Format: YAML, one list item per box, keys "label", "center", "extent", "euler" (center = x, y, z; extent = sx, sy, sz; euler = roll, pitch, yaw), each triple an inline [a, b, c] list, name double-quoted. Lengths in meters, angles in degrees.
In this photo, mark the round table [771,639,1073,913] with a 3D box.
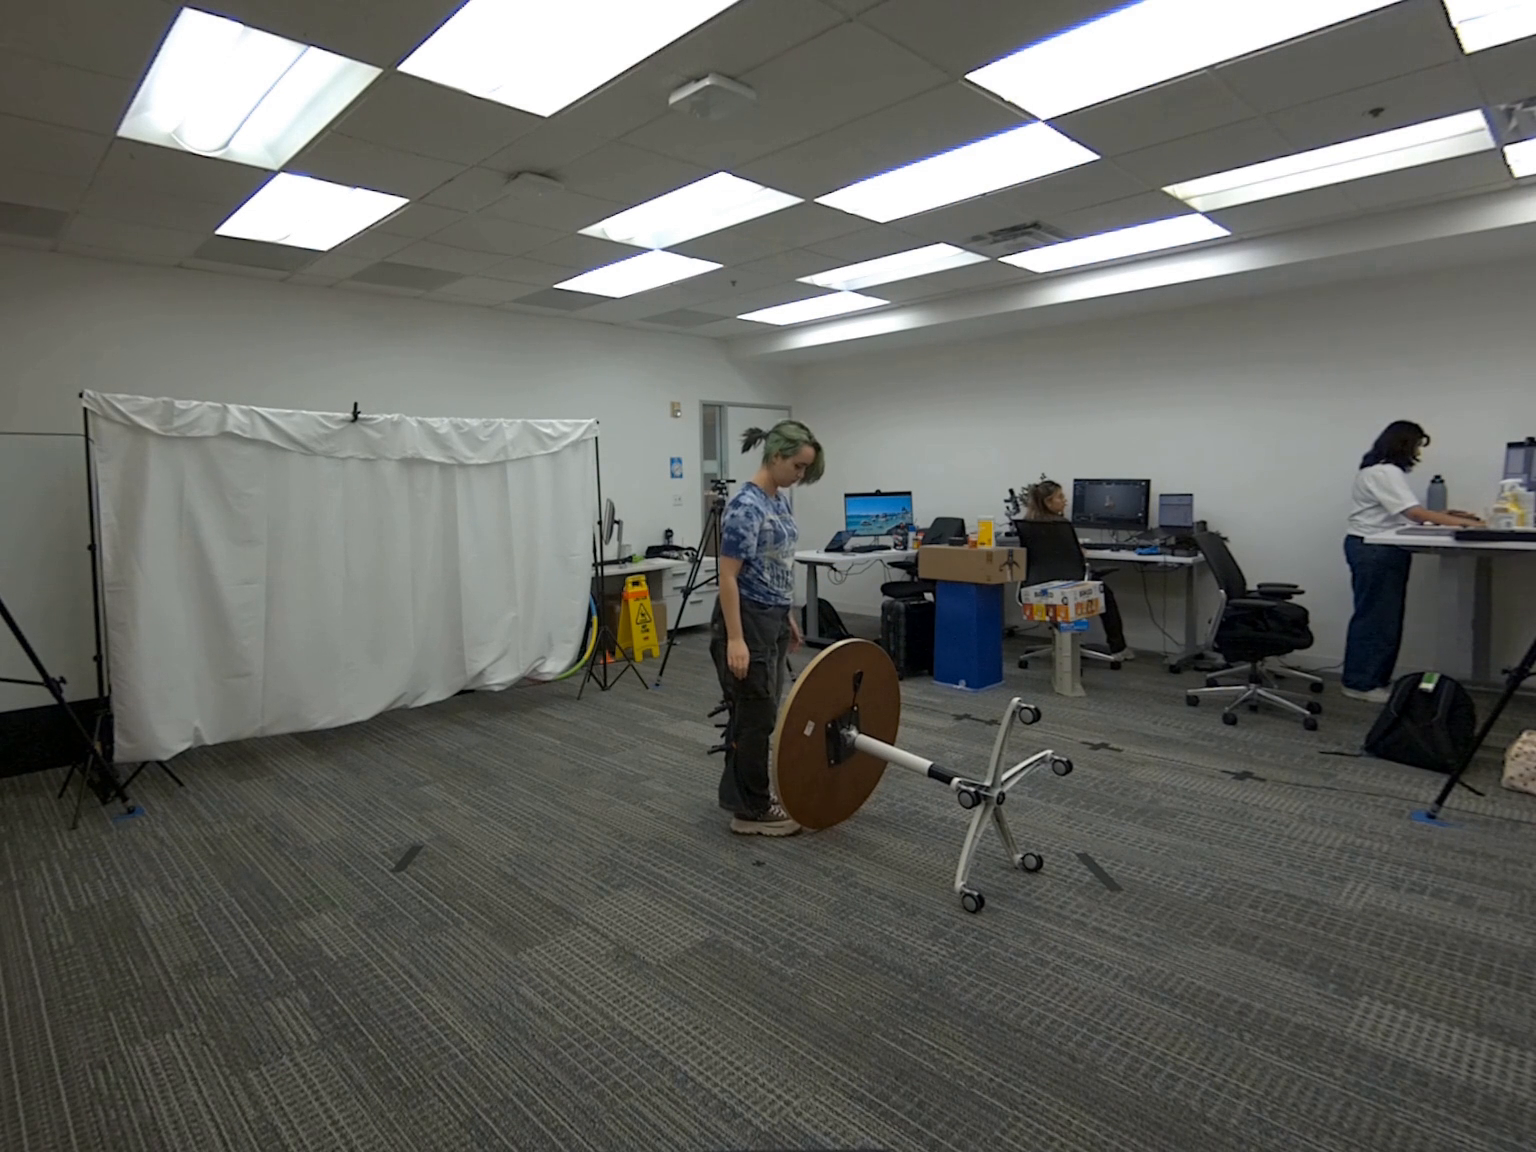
- label: "round table"
  center: [0.566, 0.698, 3.115]
  extent: [0.744, 0.758, 0.822]
  euler: [-5, 14, -44]
